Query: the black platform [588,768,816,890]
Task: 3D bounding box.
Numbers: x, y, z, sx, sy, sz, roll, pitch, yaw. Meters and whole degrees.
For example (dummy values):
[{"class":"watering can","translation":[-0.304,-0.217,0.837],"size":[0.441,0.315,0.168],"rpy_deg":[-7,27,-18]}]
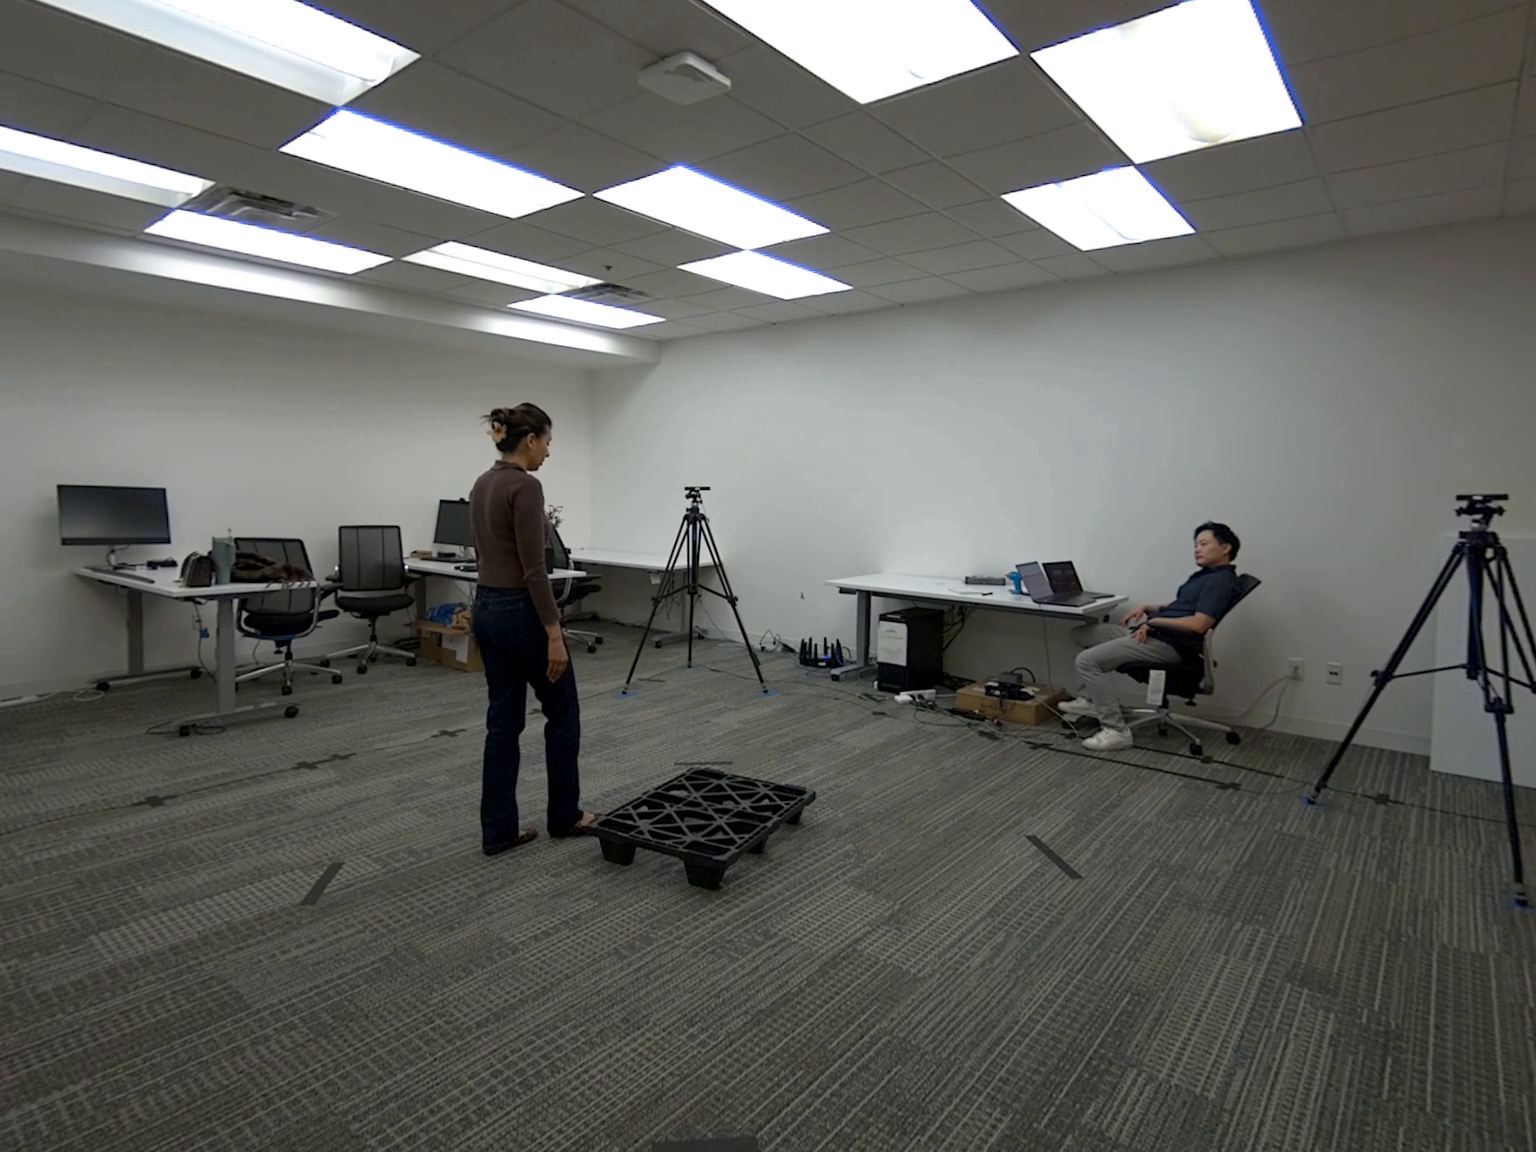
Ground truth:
[{"class":"black platform","translation":[-0.244,0.972,3.360],"size":[0.622,0.143,0.786],"rpy_deg":[4,7,28]}]
